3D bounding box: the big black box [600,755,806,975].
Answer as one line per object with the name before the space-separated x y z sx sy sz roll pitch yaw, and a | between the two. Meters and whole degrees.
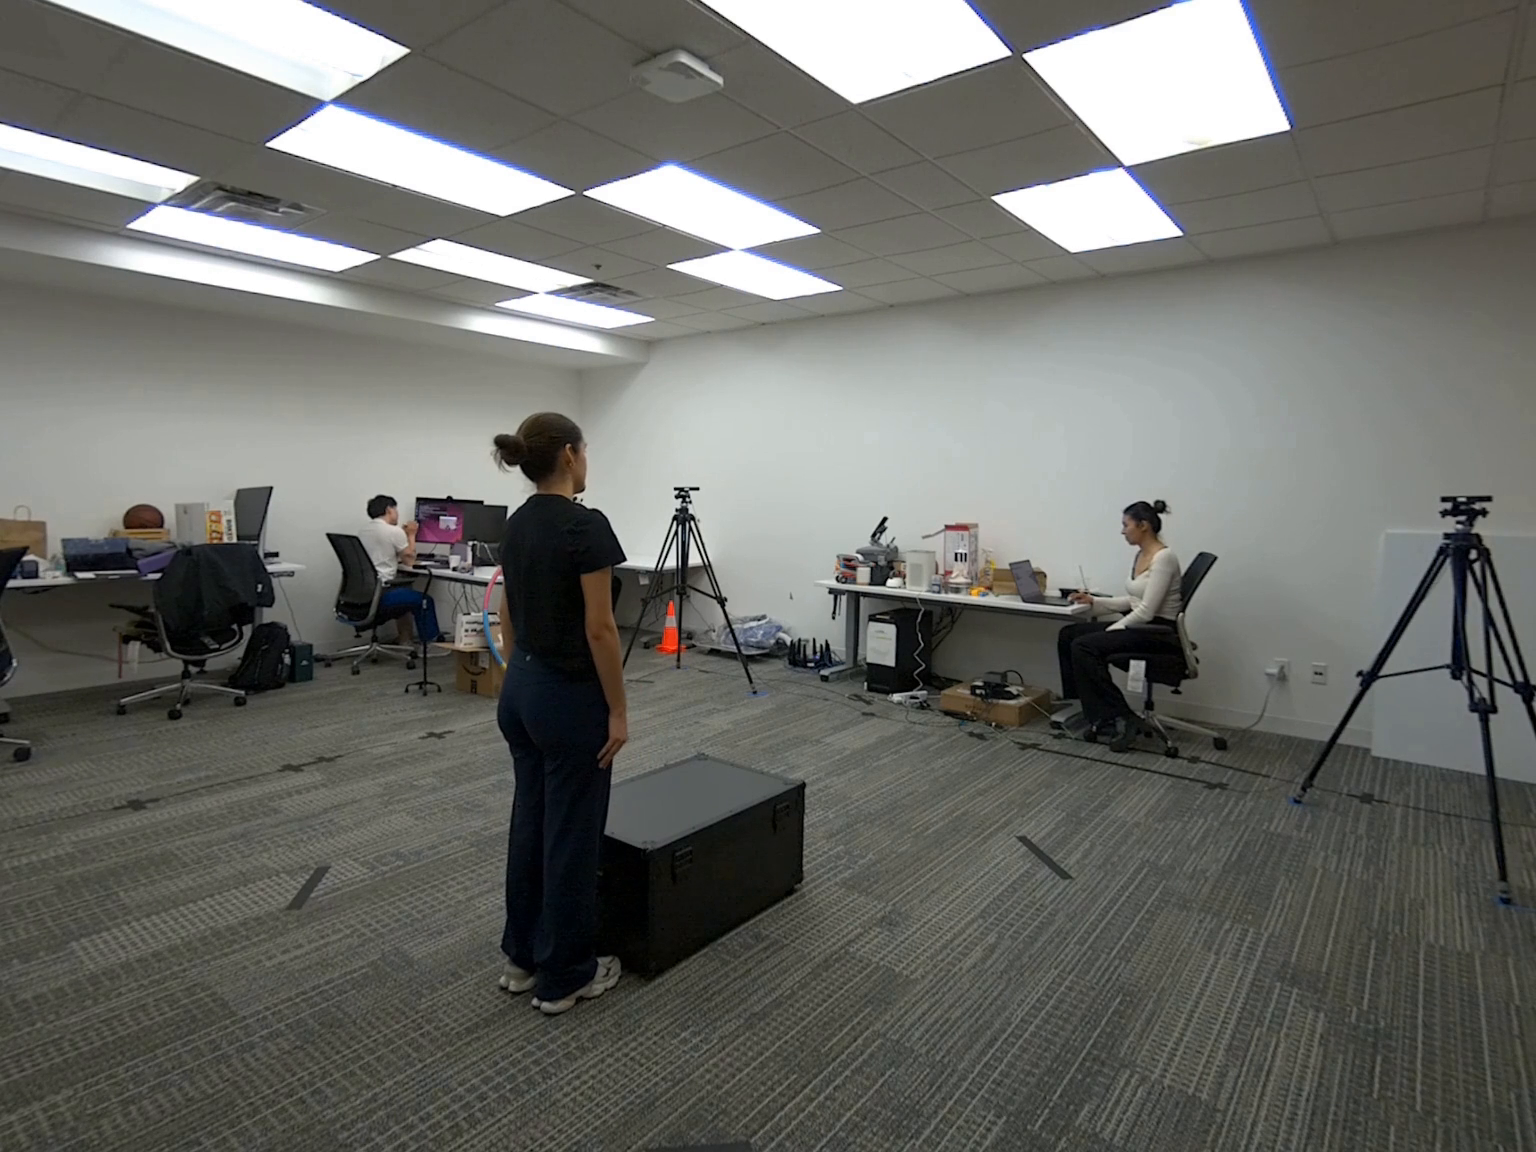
big black box | -0.266 0.884 2.854 0.538 0.395 0.836 4 5 38
